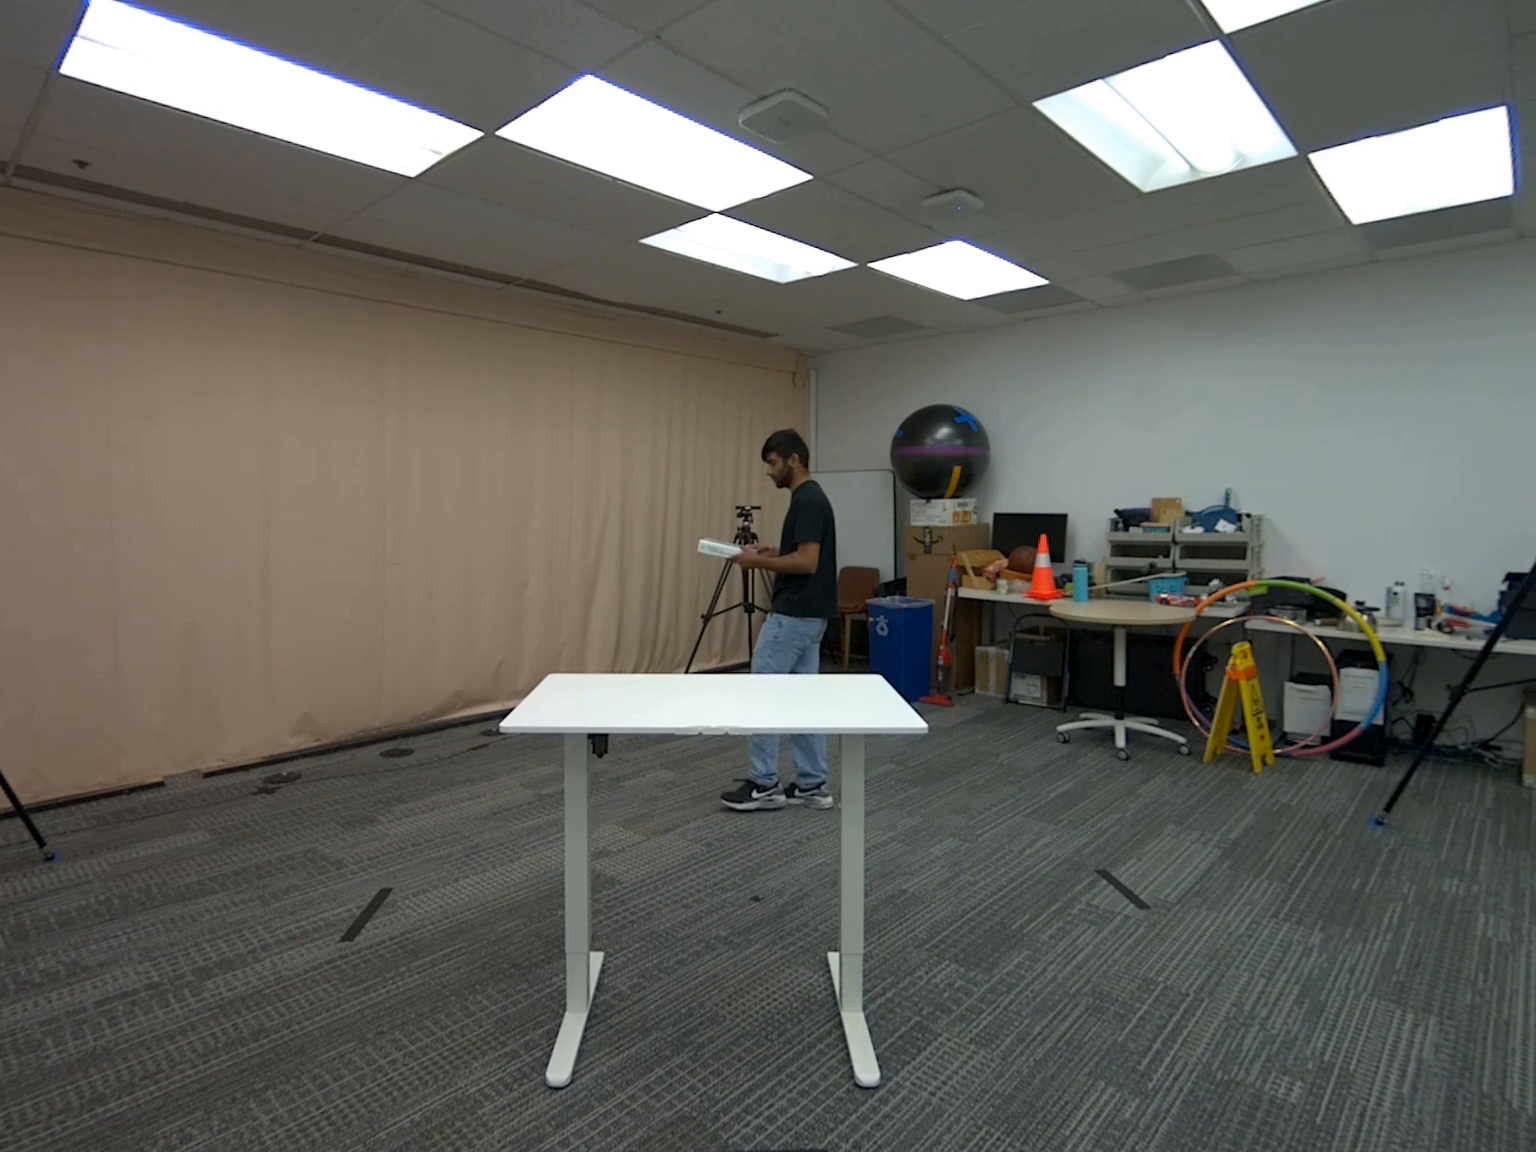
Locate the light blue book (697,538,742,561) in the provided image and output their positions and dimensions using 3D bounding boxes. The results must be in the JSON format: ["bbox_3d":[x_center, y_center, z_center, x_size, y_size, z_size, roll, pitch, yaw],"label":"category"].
[{"bbox_3d":[-0.192,-0.118,3.947,0.263,0.059,0.190,11,6,5],"label":"light blue book"}]
